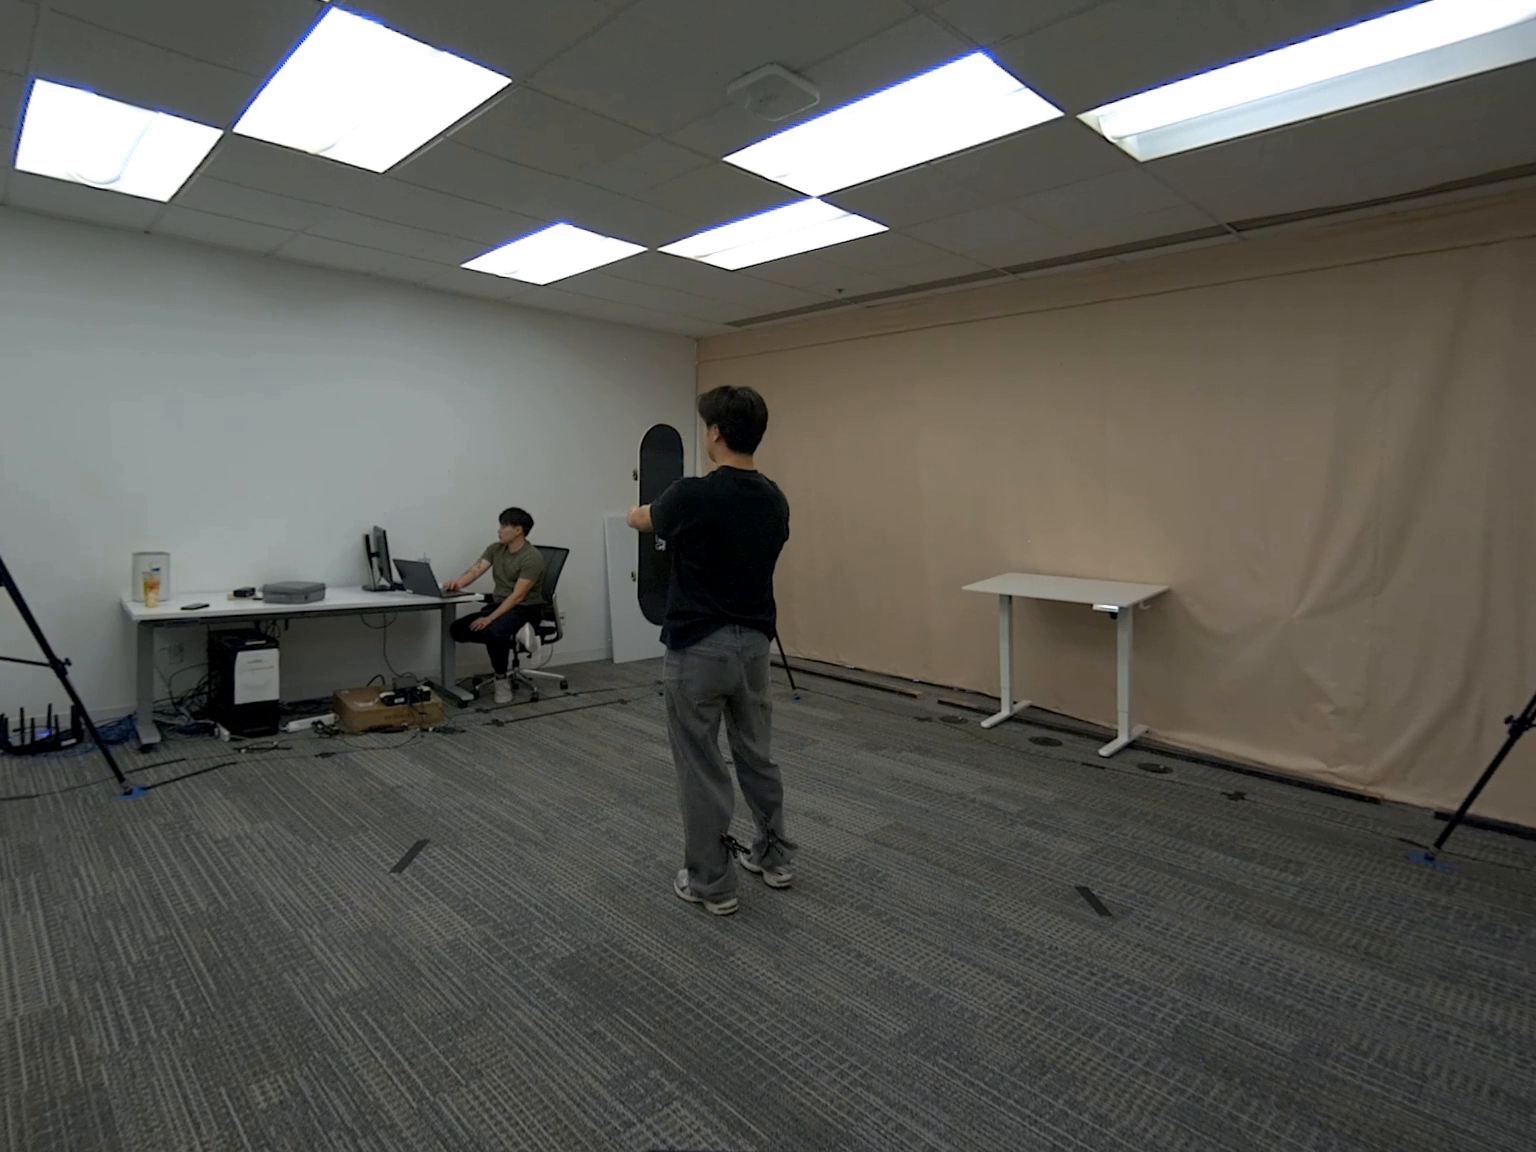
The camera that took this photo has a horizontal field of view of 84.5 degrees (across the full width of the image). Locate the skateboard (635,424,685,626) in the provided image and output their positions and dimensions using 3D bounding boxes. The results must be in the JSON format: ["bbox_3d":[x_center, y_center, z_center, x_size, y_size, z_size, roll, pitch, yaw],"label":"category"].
[{"bbox_3d":[-0.438,-0.197,3.313,0.189,0.788,0.112,3,-4,-29],"label":"skateboard"}]
